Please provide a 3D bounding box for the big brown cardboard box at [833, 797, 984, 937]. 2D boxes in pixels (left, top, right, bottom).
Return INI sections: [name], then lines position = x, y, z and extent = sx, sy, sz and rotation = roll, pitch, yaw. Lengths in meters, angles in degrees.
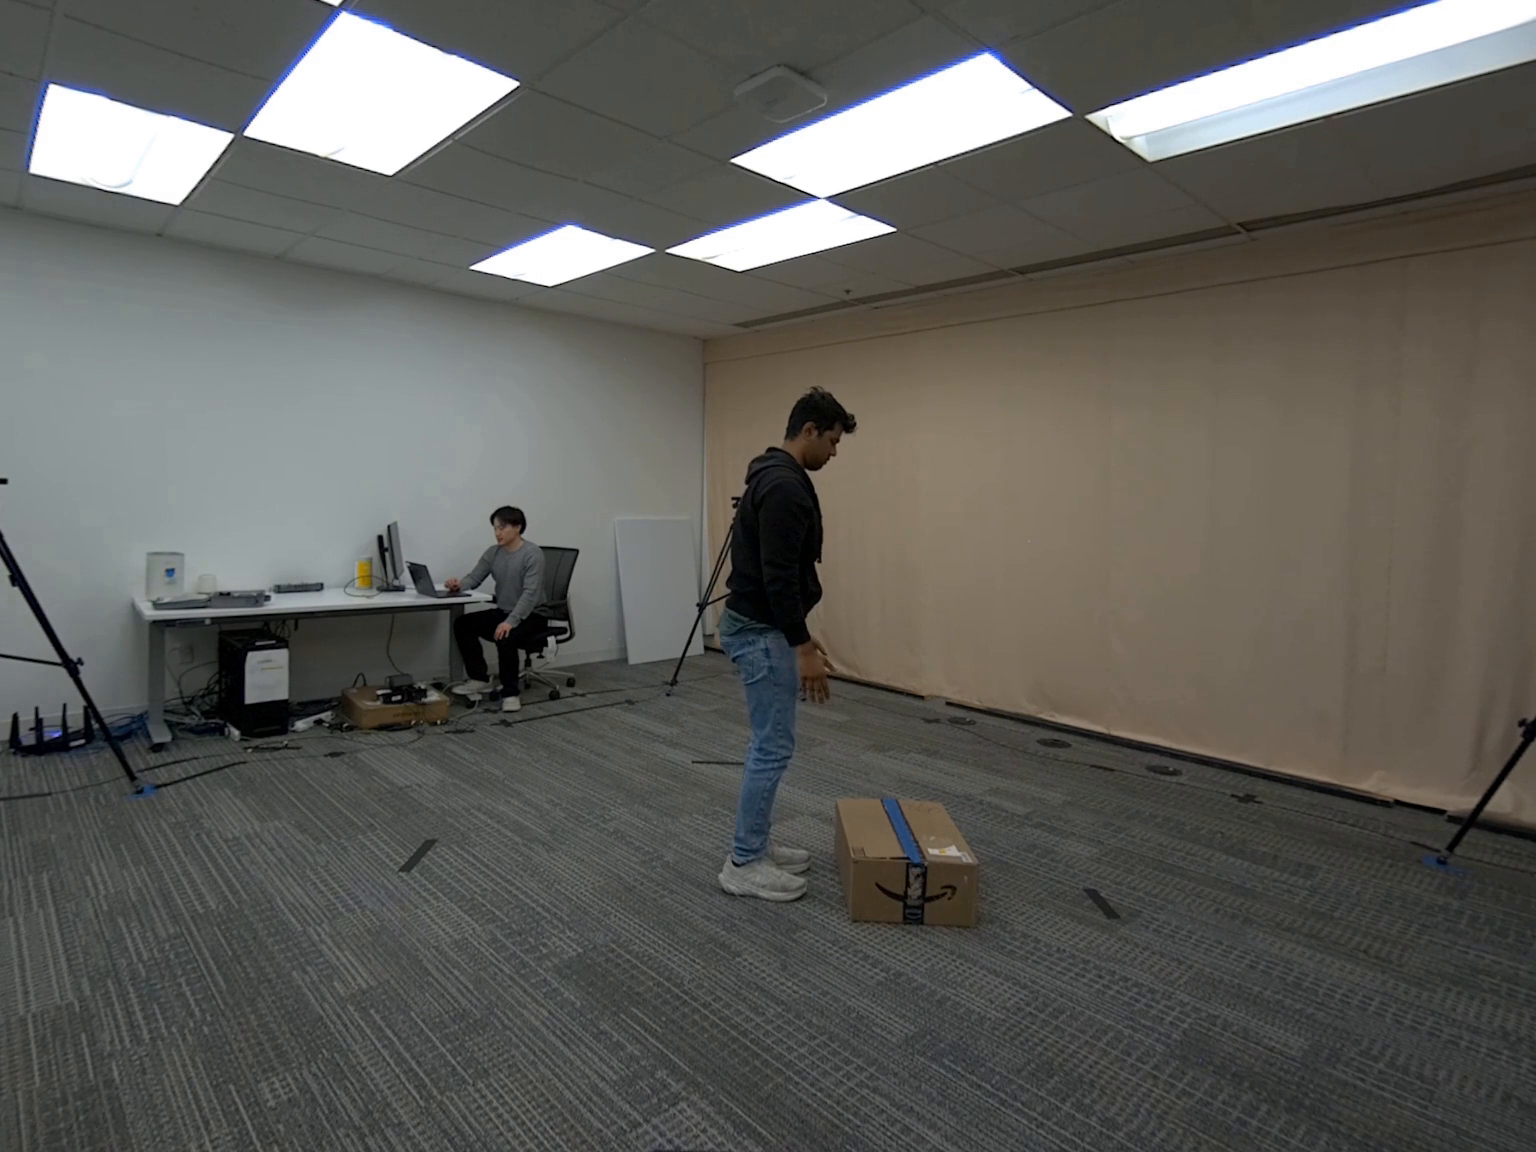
[big brown cardboard box]
position = 0.477, 1.020, 3.041
extent = 0.418, 0.232, 0.590
rotation = 2, 4, 0
